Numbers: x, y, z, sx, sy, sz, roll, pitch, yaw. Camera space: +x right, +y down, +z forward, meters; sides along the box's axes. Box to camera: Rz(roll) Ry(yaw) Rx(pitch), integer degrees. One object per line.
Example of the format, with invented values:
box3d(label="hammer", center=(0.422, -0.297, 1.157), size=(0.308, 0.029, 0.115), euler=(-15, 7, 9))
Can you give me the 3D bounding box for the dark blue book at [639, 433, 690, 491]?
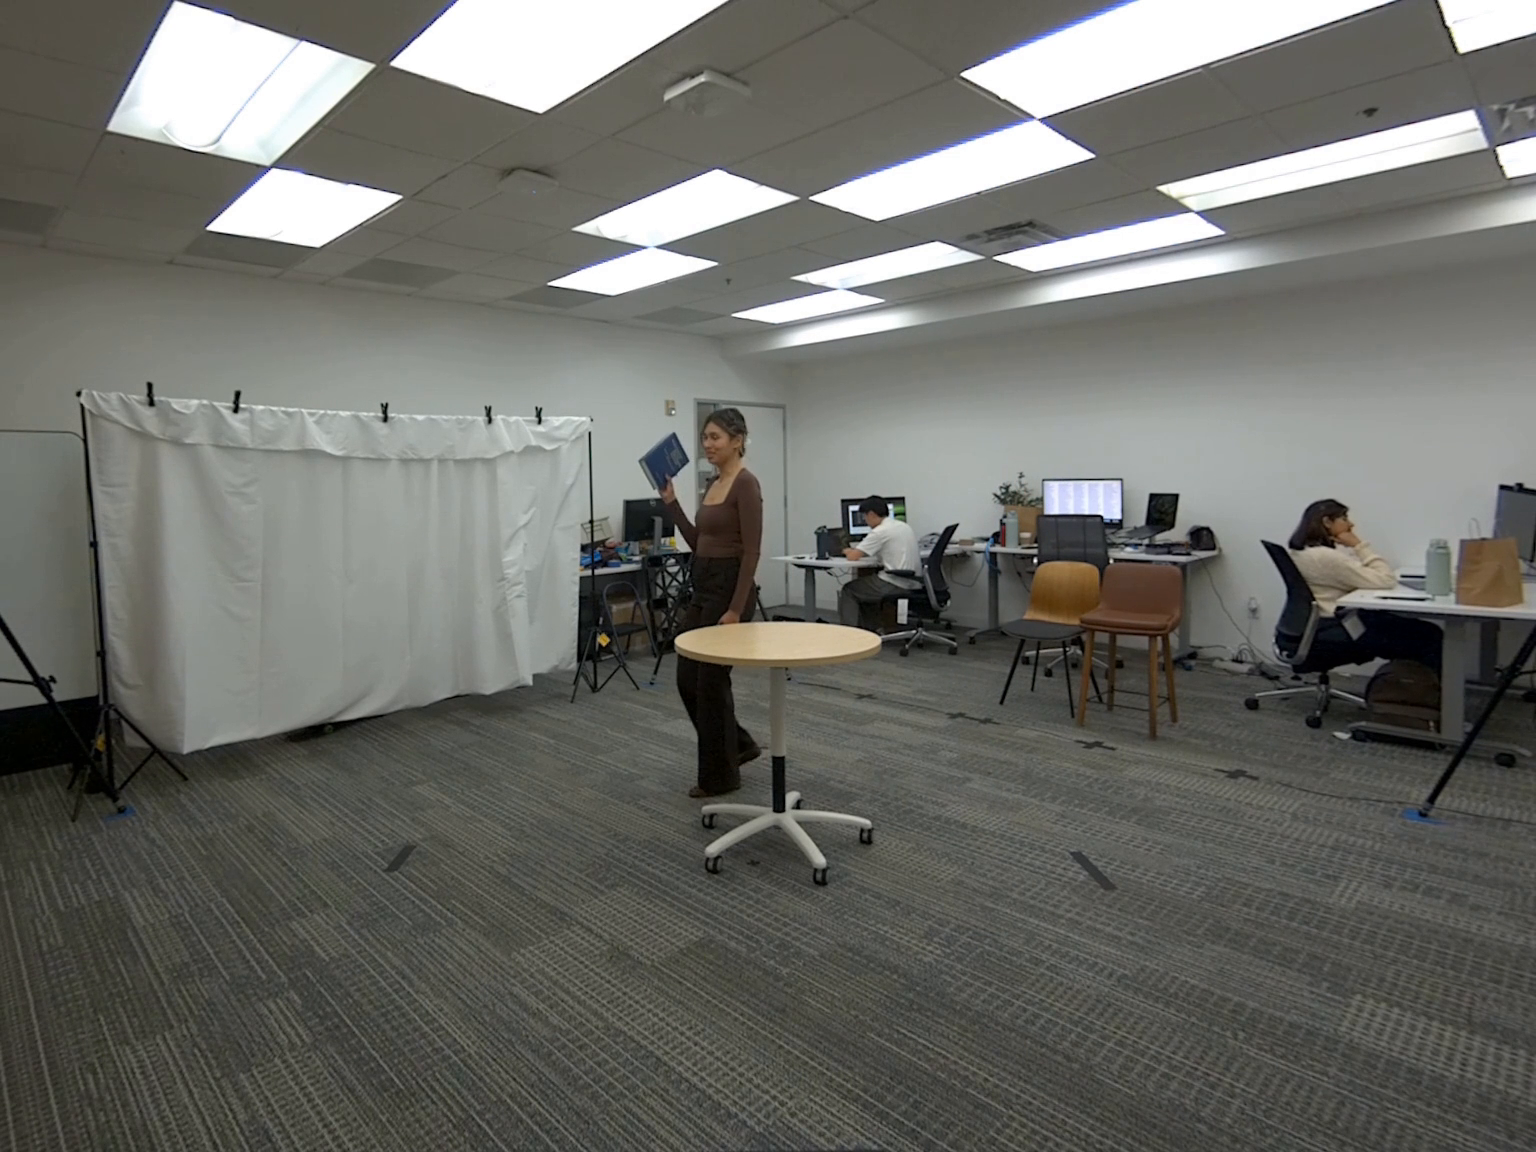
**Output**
box3d(label="dark blue book", center=(-0.473, -0.530, 3.926), size=(0.046, 0.158, 0.246), euler=(-3, 36, 40))
